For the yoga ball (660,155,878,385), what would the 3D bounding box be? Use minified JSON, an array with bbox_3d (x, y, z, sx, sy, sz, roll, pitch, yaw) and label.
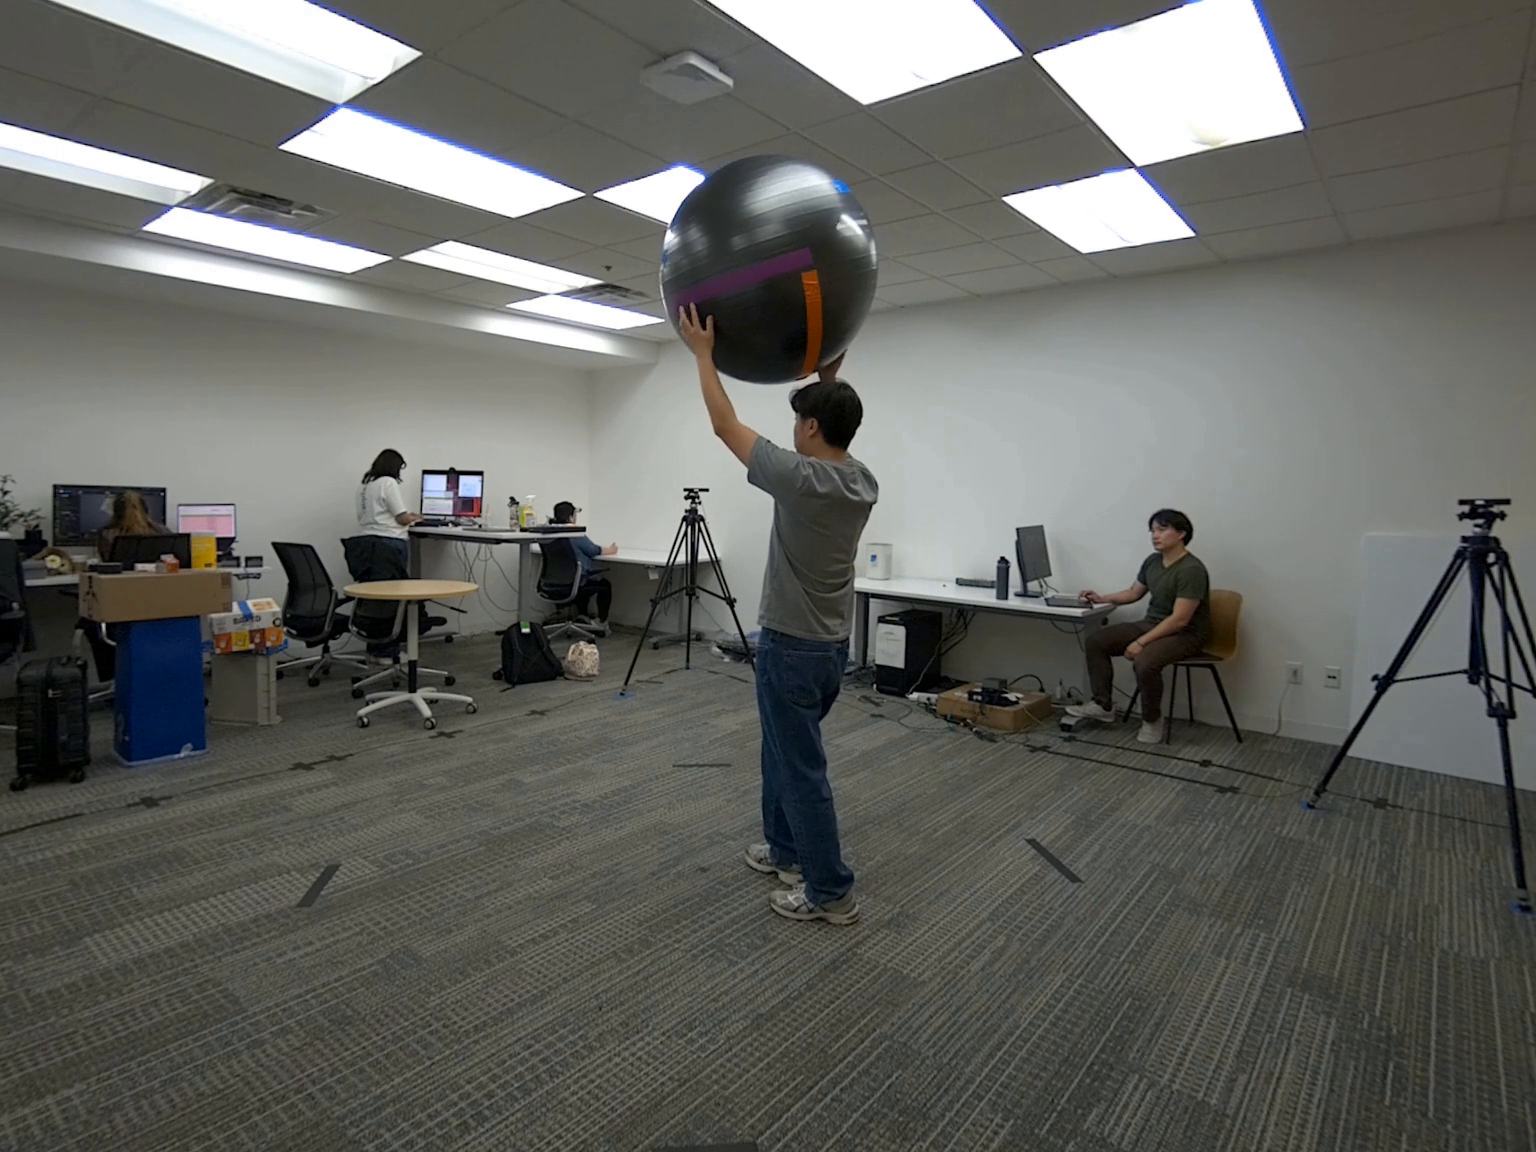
[{"bbox_3d":[-0.013,-1.049,2.962,0.757,0.756,0.761,1,4,-2],"label":"yoga ball"}]
